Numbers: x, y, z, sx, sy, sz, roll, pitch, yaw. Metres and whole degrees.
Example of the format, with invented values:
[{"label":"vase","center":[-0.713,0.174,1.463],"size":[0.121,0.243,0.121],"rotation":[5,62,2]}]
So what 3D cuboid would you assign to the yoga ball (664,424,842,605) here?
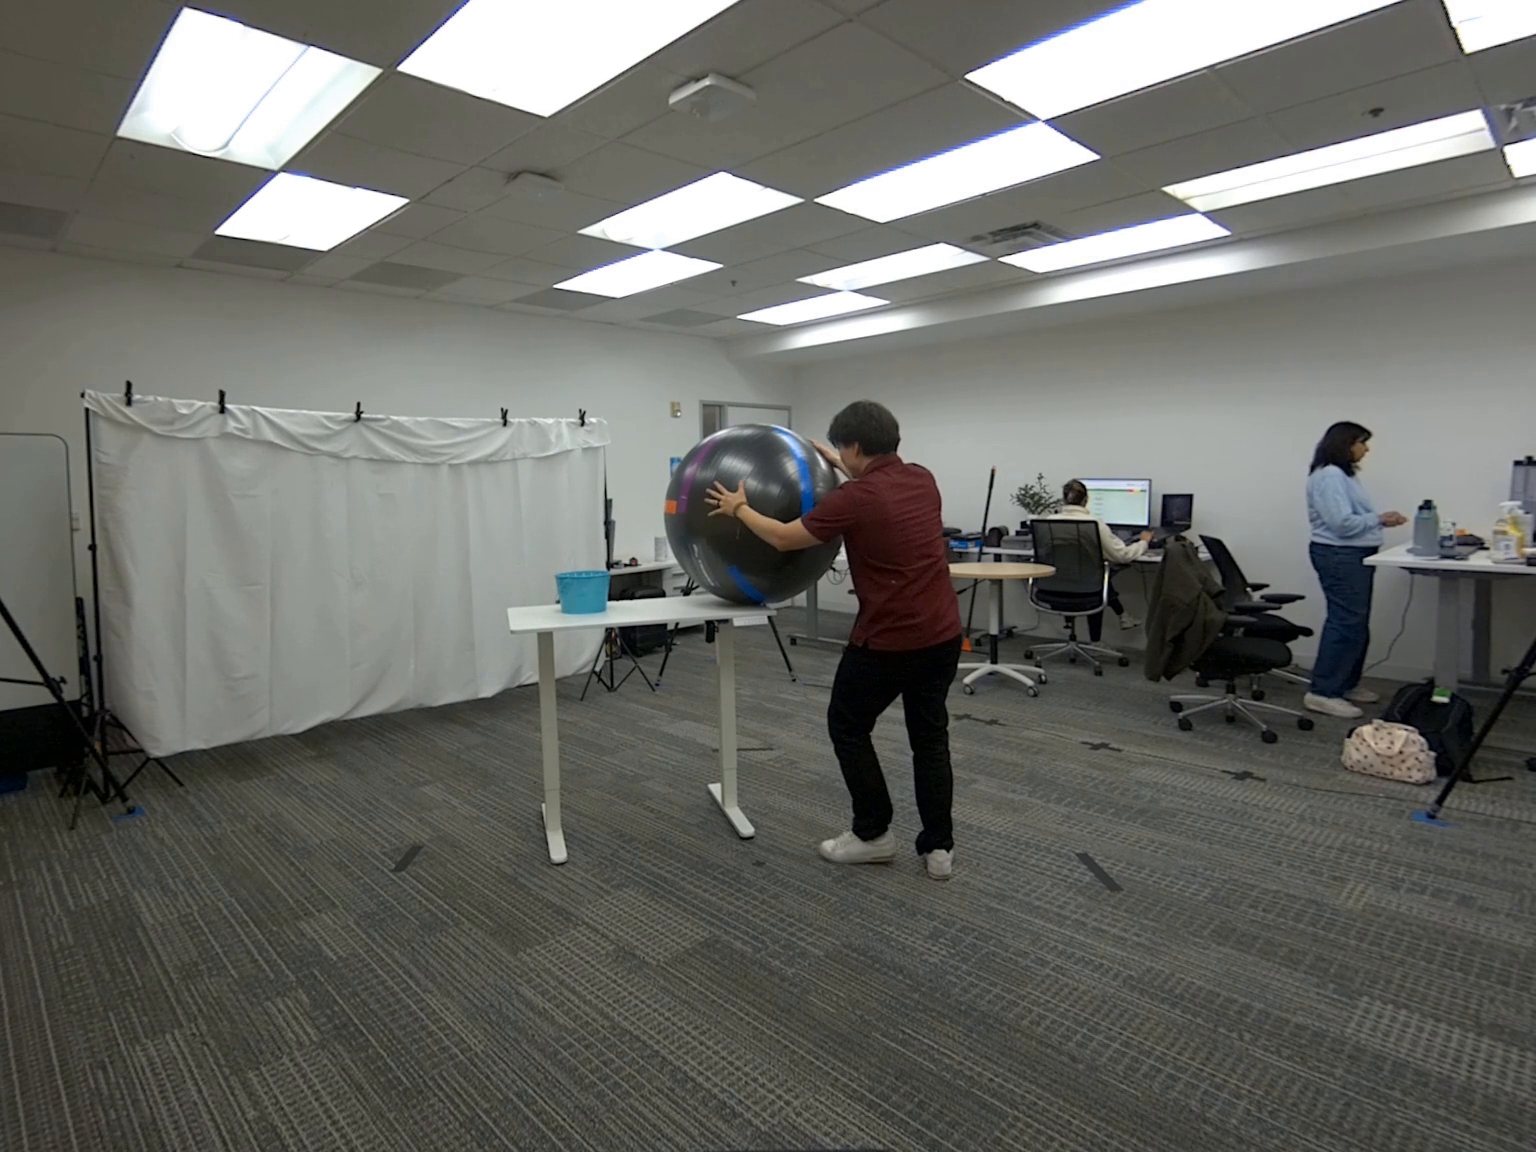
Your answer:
[{"label":"yoga ball","center":[-0.056,-0.249,3.571],"size":[0.757,0.755,0.762],"rotation":[-1,5,-2]}]
